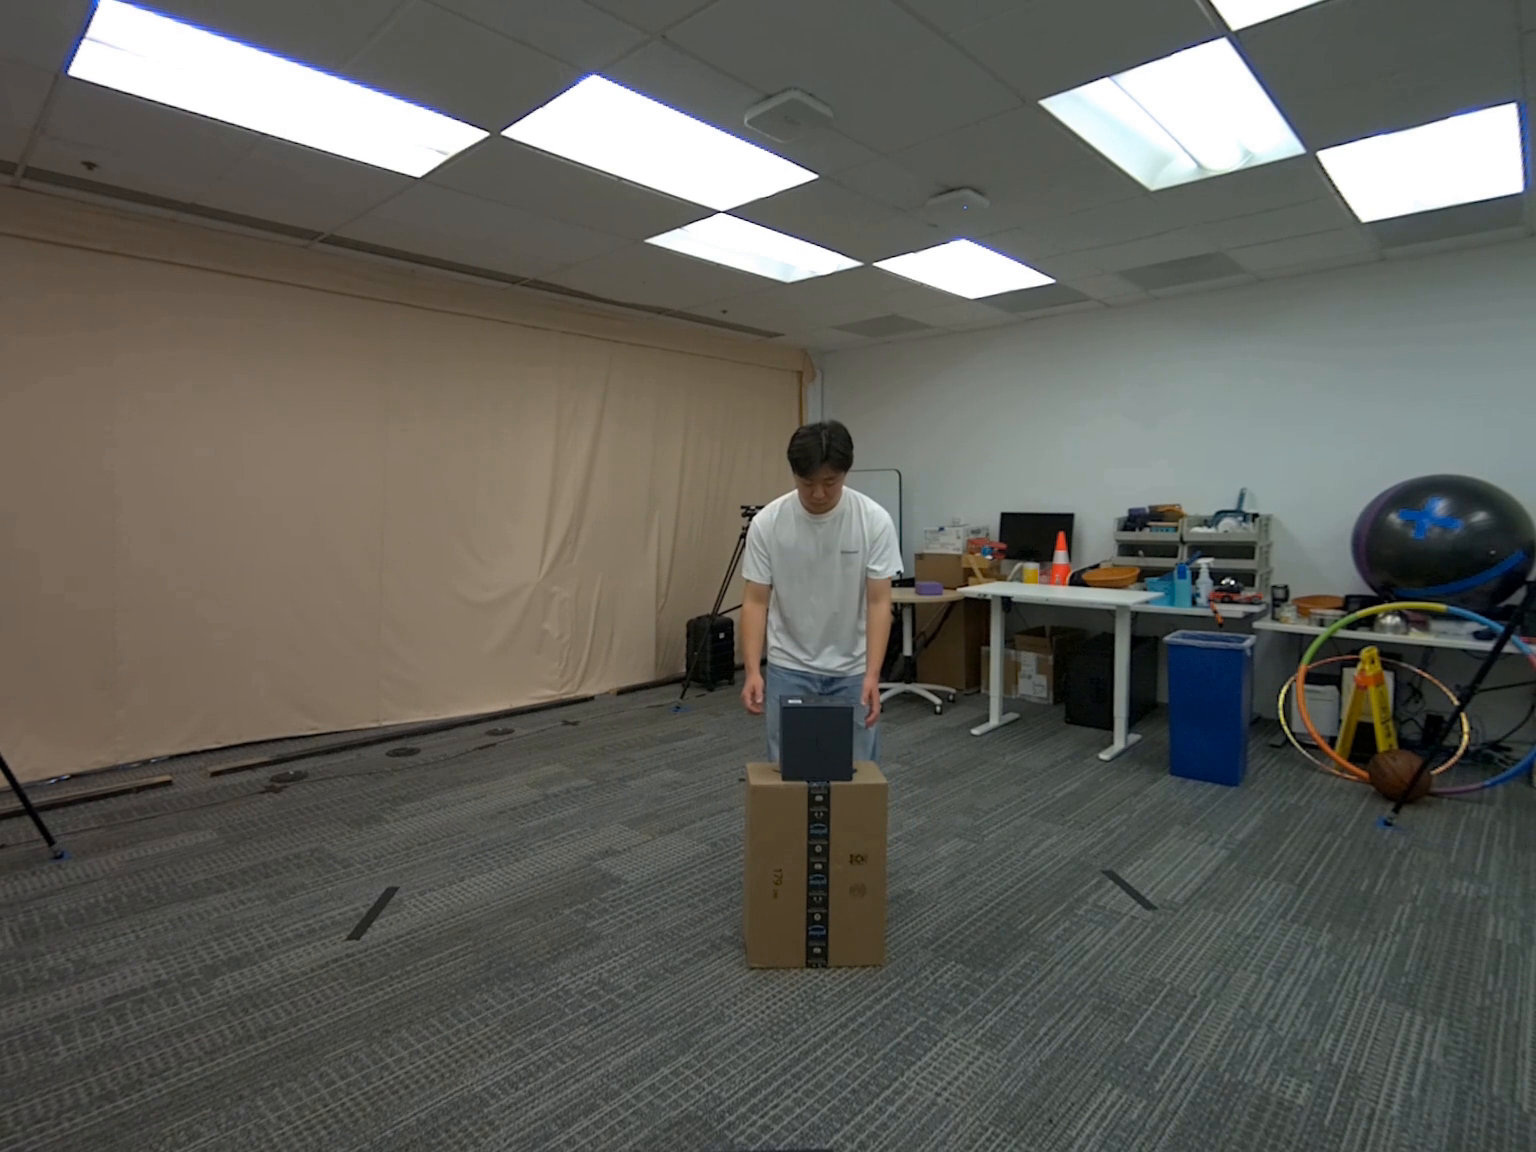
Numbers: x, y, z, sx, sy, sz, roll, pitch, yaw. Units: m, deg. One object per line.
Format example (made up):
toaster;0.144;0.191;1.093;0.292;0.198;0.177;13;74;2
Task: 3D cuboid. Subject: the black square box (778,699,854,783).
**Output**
black square box;0.149;0.495;2.596;0.218;0.227;0.155;-1;3;5
